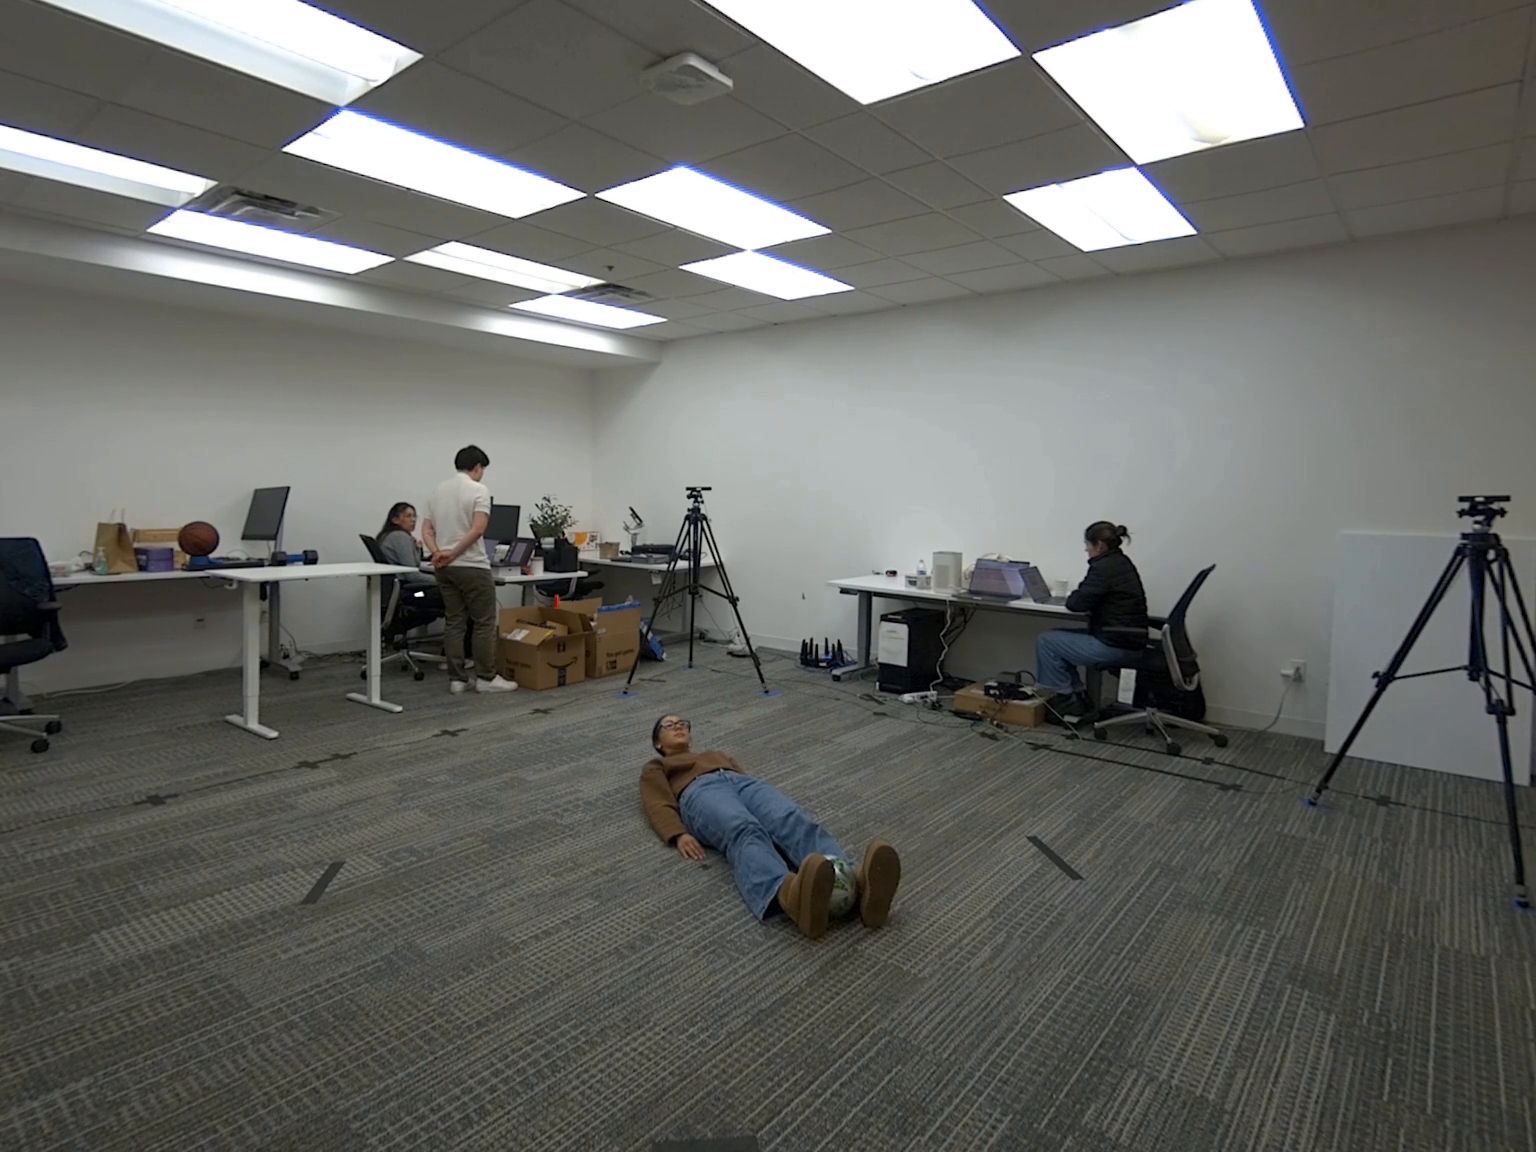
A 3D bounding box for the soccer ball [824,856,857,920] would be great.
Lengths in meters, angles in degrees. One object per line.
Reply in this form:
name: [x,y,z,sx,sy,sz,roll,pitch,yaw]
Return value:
soccer ball: [0.195,1.007,2.761,0.187,0.187,0.188,1,4,-2]
